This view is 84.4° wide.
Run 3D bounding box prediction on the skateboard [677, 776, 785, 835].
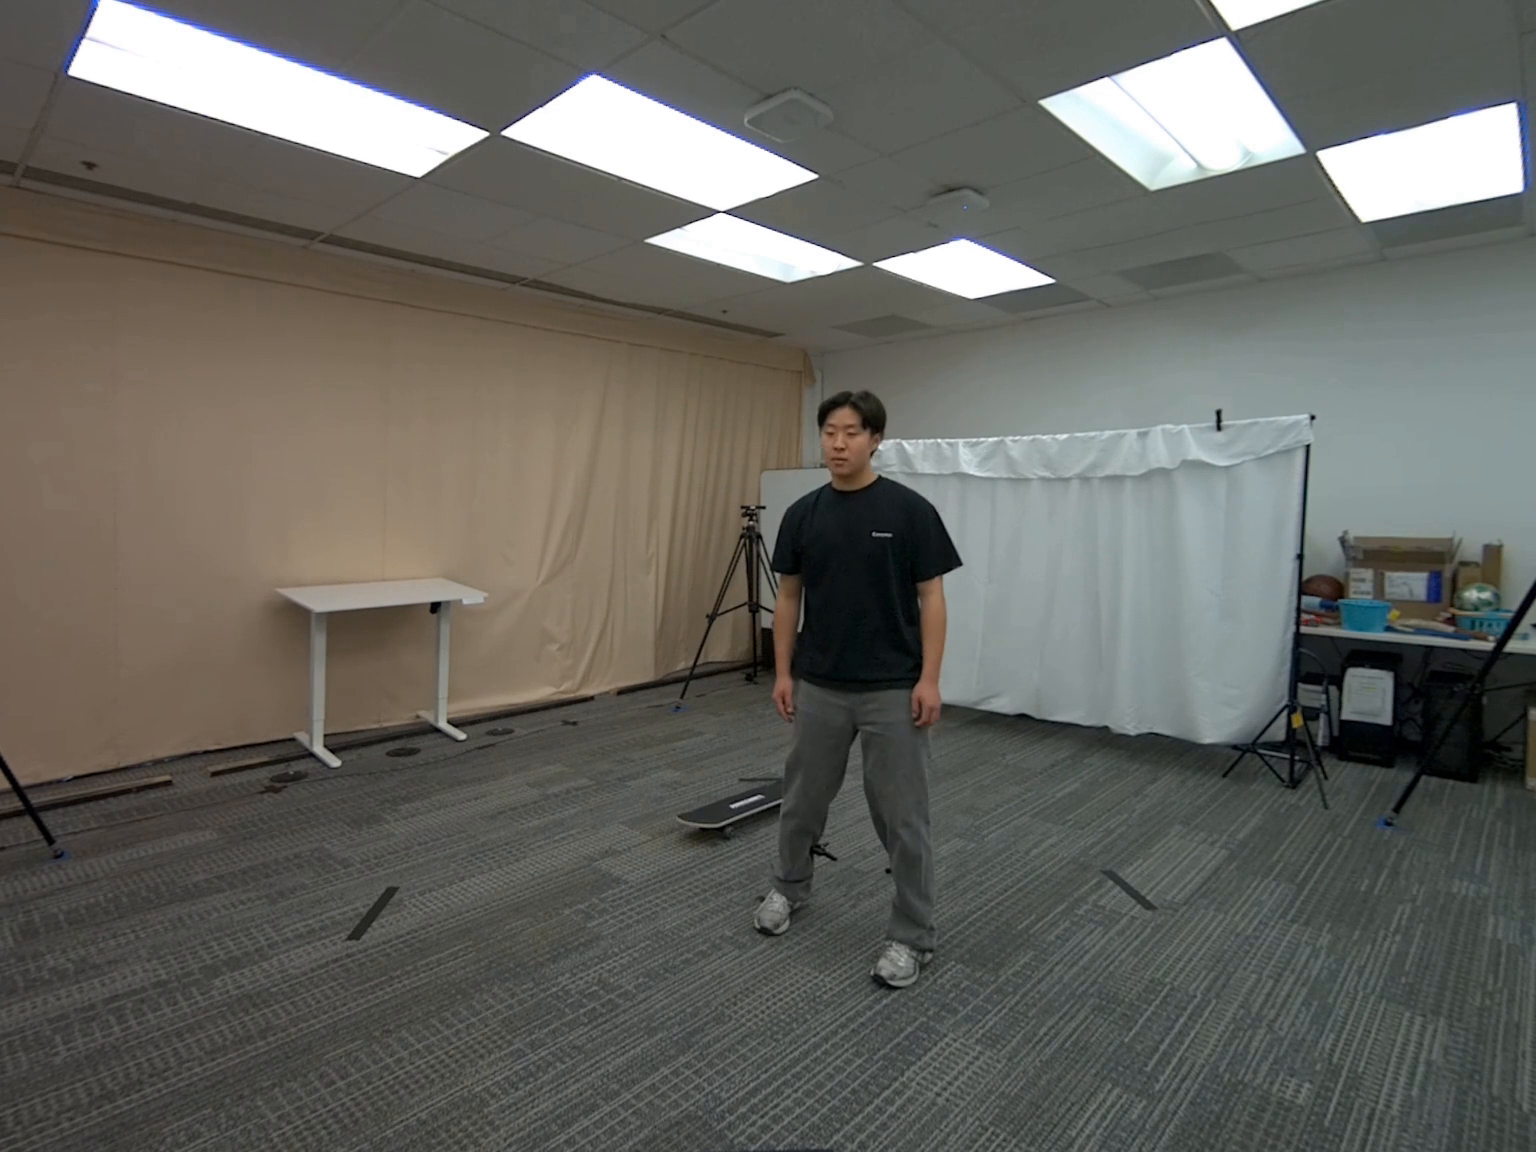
[{"bbox_3d":[-0.090,1.030,3.717,0.200,0.110,0.761,3,5,43],"label":"skateboard"}]
